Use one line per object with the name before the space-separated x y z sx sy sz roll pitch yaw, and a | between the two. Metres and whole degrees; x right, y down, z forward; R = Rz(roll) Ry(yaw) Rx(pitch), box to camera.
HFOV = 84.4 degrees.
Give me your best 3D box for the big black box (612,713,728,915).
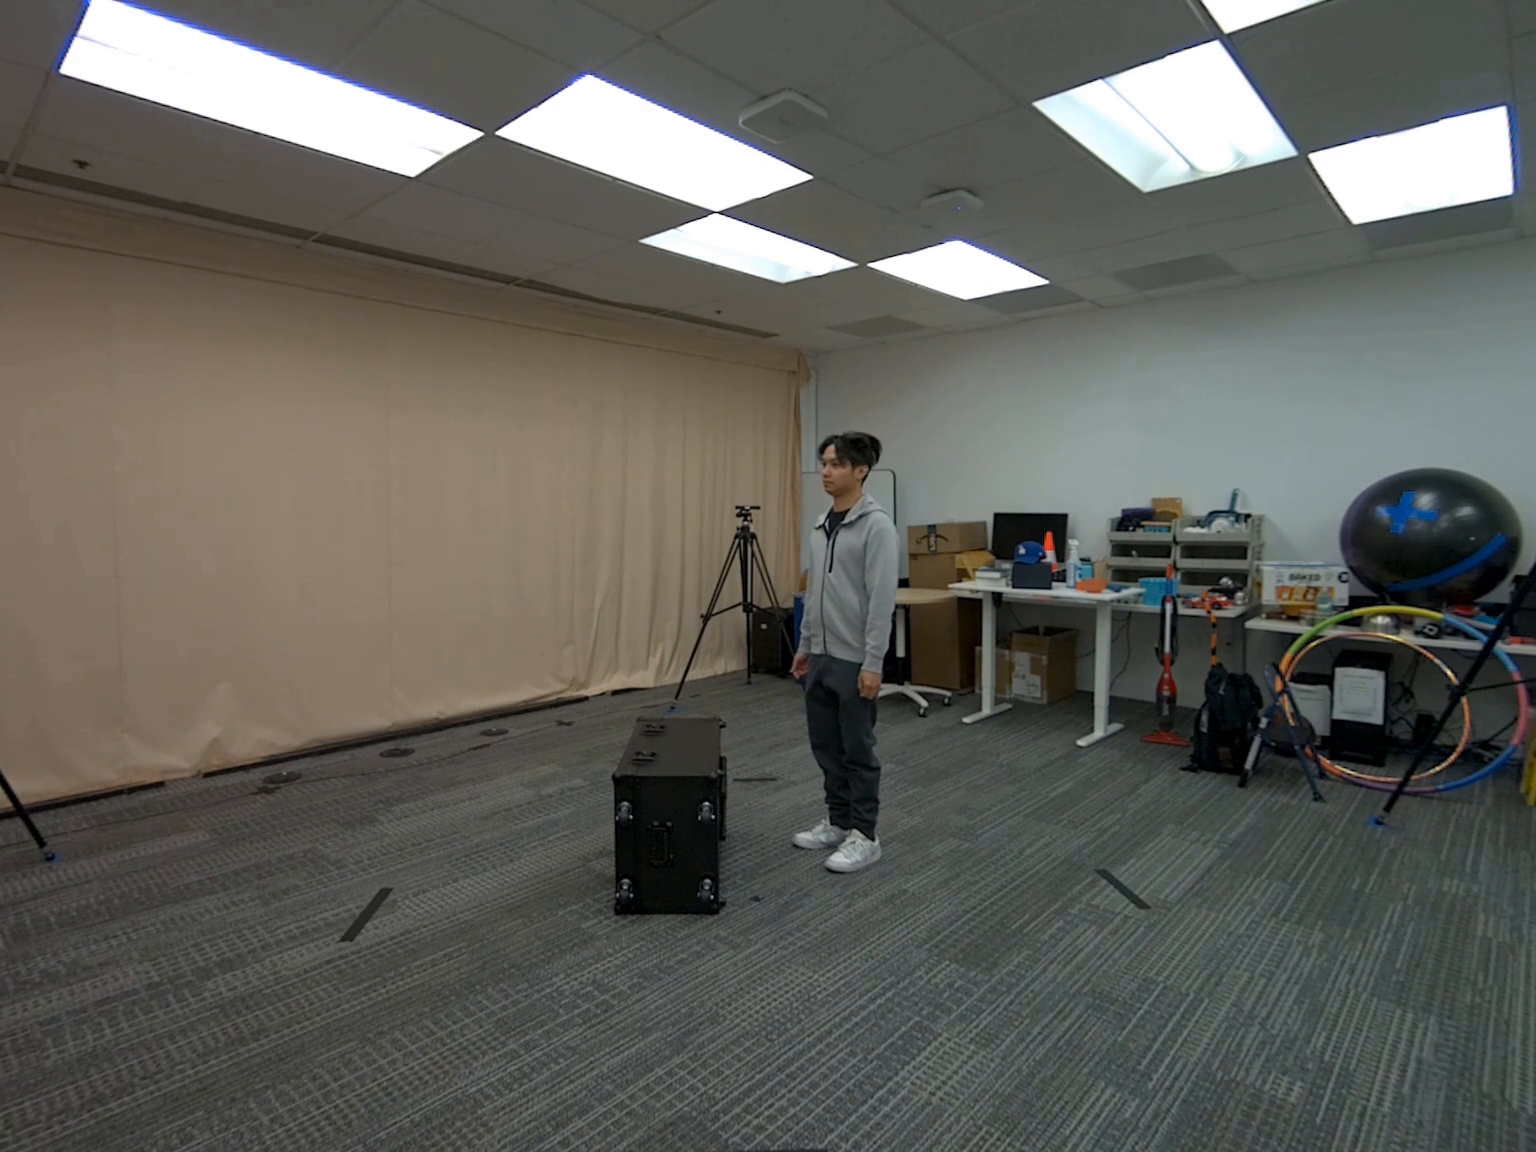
big black box | -0.349 0.884 3.210 0.396 0.520 0.863 0 4 -1
